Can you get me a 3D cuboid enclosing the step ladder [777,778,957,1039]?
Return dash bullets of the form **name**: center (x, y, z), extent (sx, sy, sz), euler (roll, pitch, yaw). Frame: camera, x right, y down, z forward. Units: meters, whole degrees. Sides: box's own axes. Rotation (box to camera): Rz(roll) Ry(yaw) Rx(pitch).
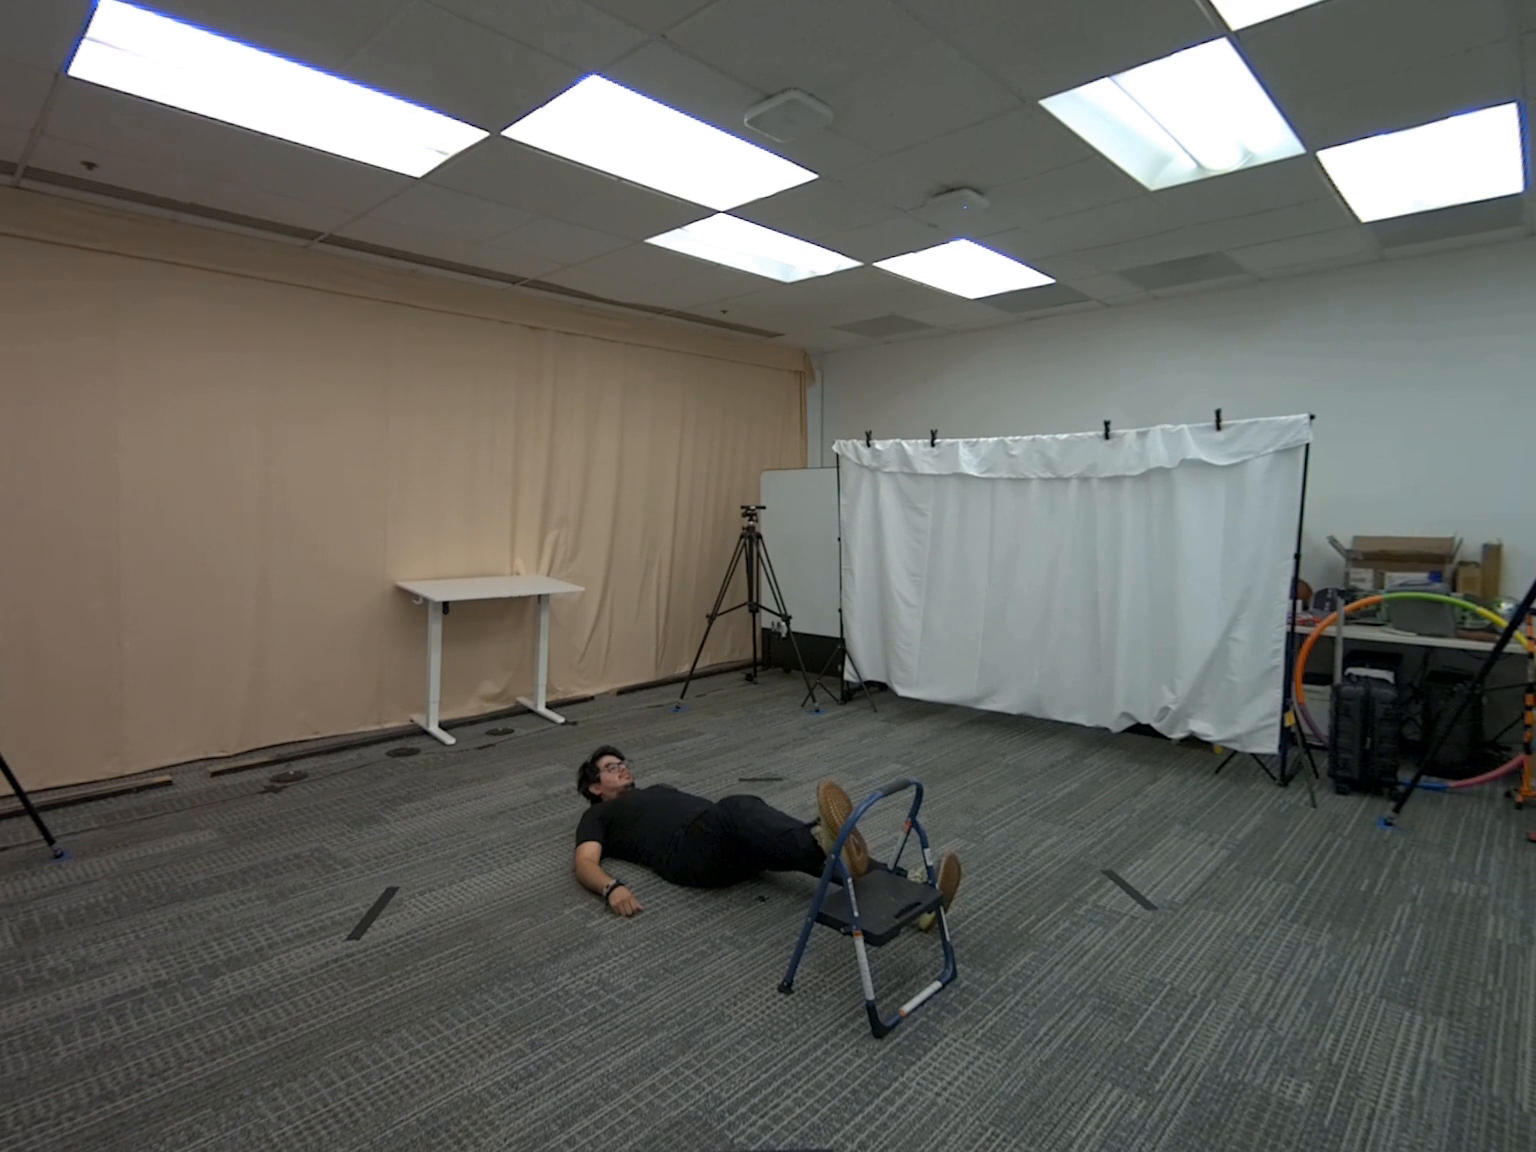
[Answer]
- **step ladder**: center (0.298, 0.887, 2.433), extent (0.361, 0.604, 0.417), euler (4, 6, 42)
